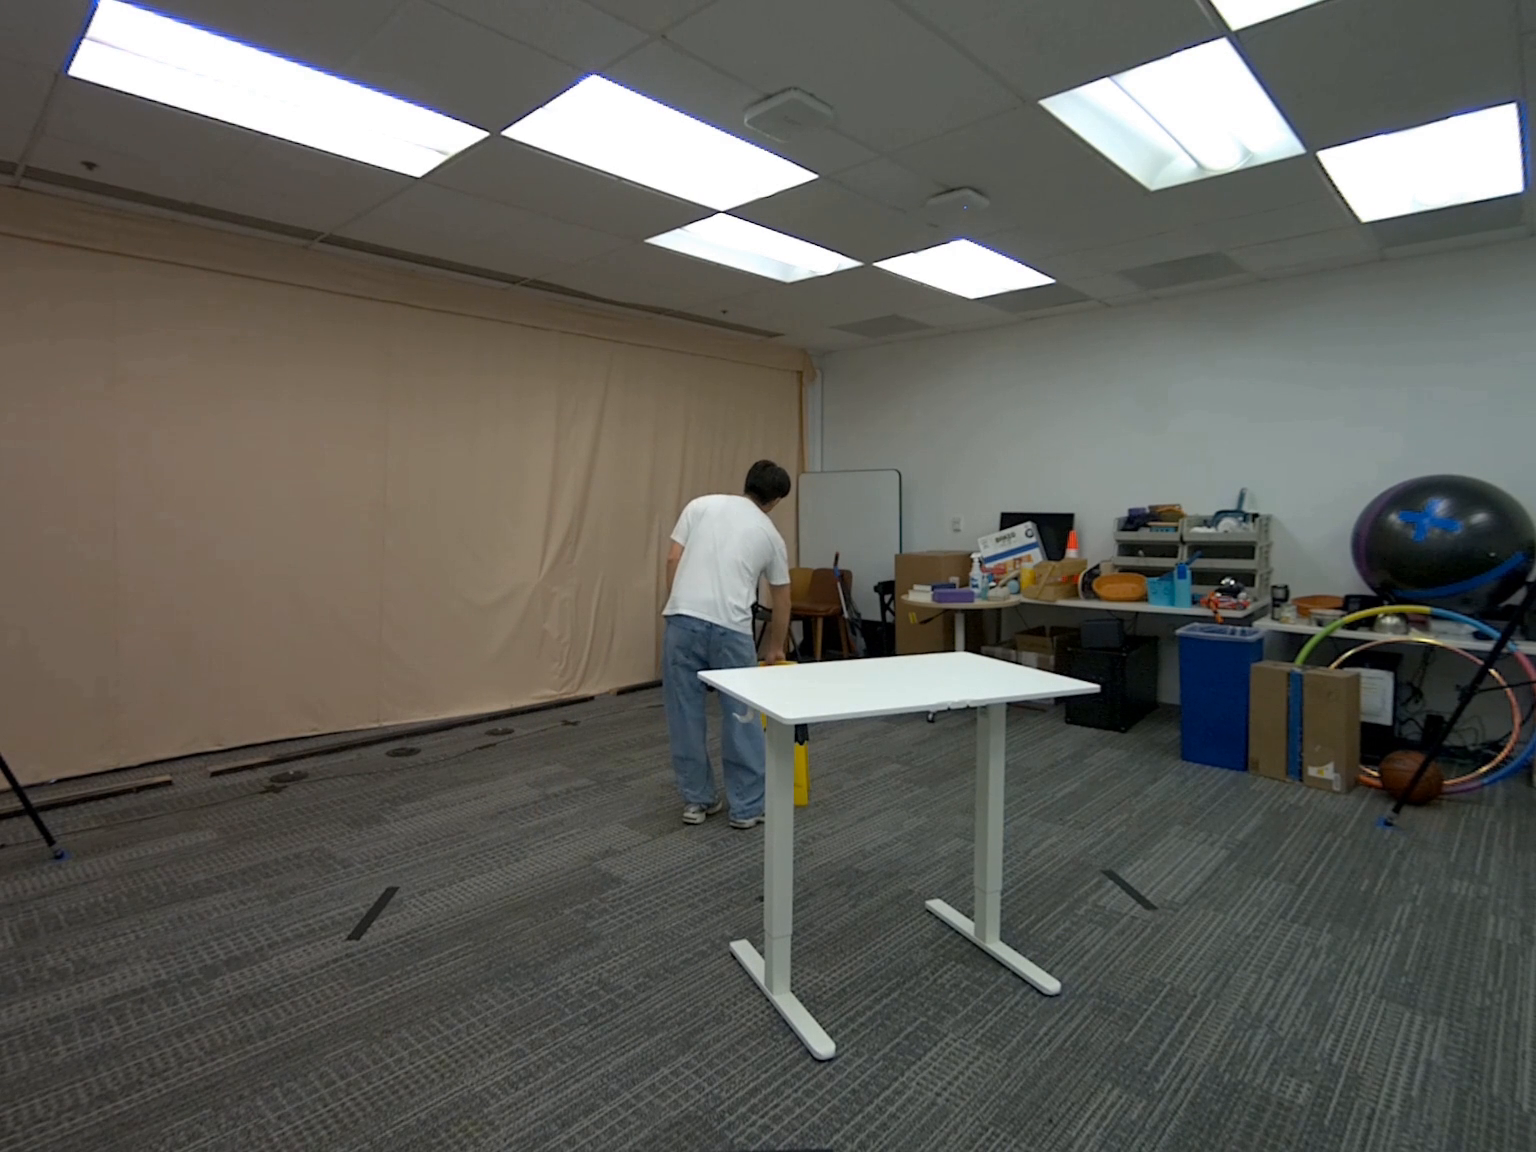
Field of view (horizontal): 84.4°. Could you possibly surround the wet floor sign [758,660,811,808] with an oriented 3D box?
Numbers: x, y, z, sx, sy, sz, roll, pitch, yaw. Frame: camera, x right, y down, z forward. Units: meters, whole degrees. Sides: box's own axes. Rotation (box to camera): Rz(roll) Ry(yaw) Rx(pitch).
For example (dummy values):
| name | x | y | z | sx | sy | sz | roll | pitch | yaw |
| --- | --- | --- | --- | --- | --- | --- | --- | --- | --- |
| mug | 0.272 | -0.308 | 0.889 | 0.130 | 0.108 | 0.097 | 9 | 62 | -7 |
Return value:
| name | x | y | z | sx | sy | sz | roll | pitch | yaw |
| --- | --- | --- | --- | --- | --- | --- | --- | --- | --- |
| wet floor sign | 0.053 | 0.719 | 4.011 | 0.285 | 0.645 | 0.287 | 1 | 2 | 9 |
